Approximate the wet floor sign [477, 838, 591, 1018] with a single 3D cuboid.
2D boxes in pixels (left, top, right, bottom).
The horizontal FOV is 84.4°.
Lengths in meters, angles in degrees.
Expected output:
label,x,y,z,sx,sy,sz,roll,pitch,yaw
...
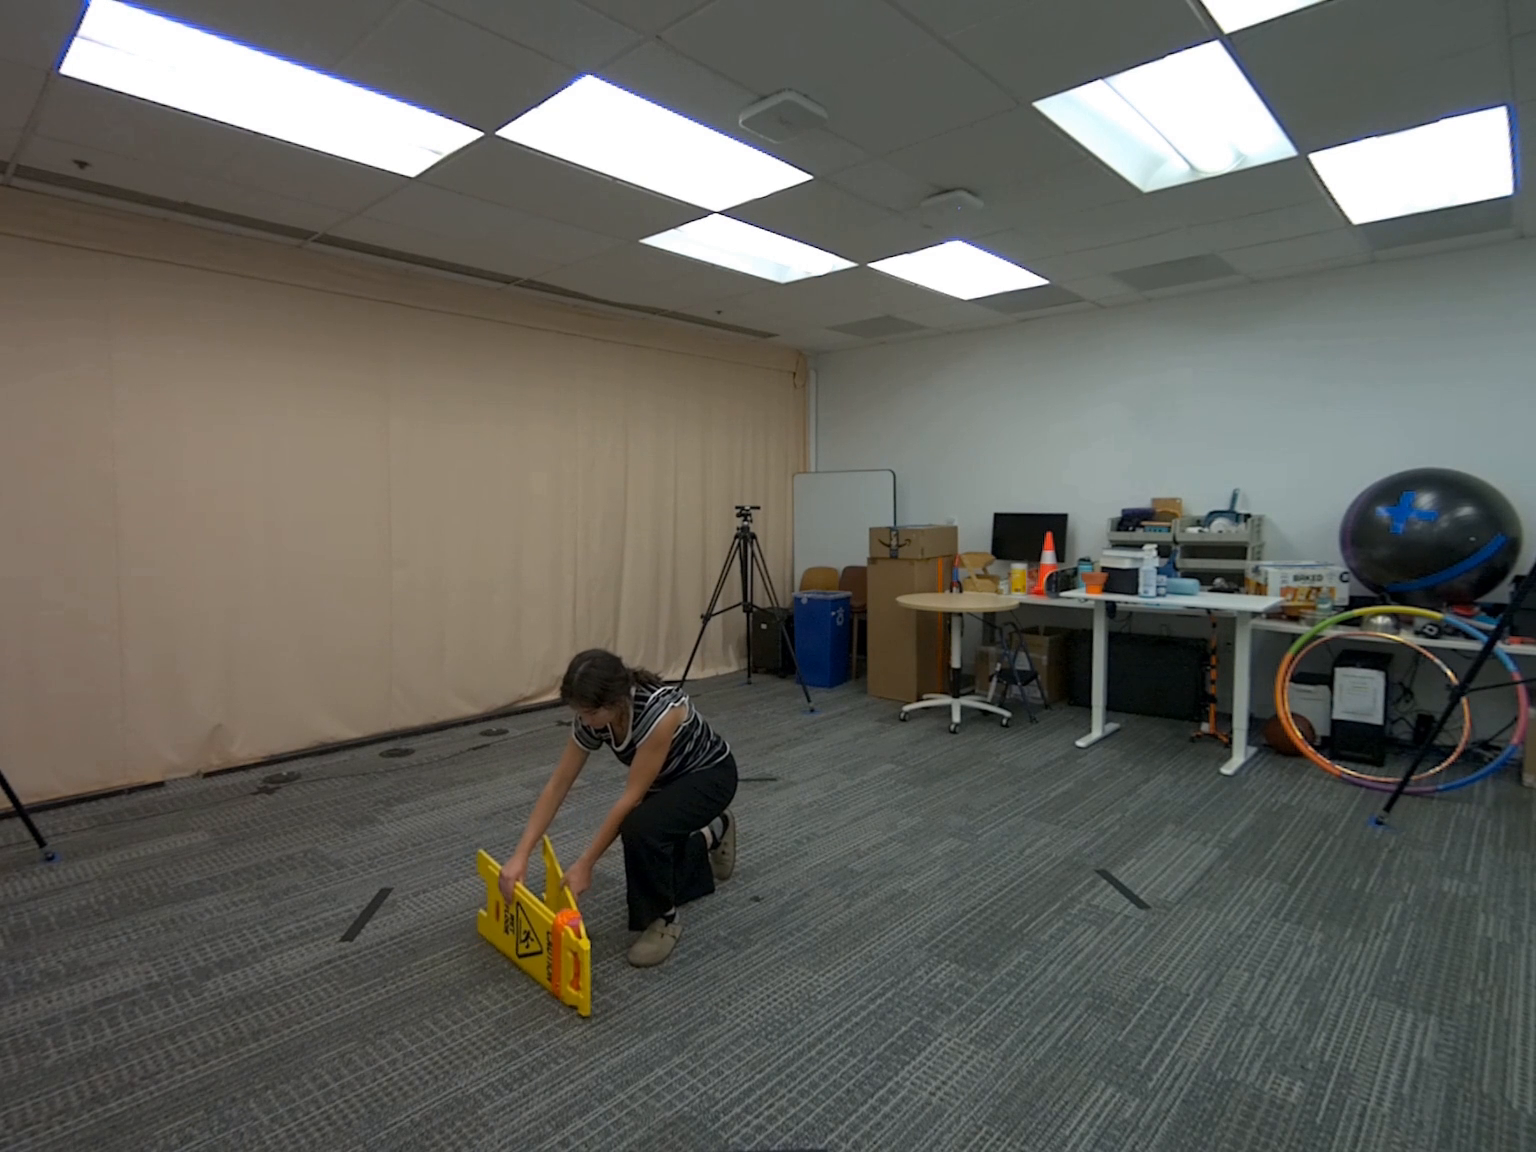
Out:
label,x,y,z,sx,sy,sz,roll,pitch,yaw
wet floor sign,-0.674,1.061,2.540,0.282,0.281,0.667,-3,8,-33
